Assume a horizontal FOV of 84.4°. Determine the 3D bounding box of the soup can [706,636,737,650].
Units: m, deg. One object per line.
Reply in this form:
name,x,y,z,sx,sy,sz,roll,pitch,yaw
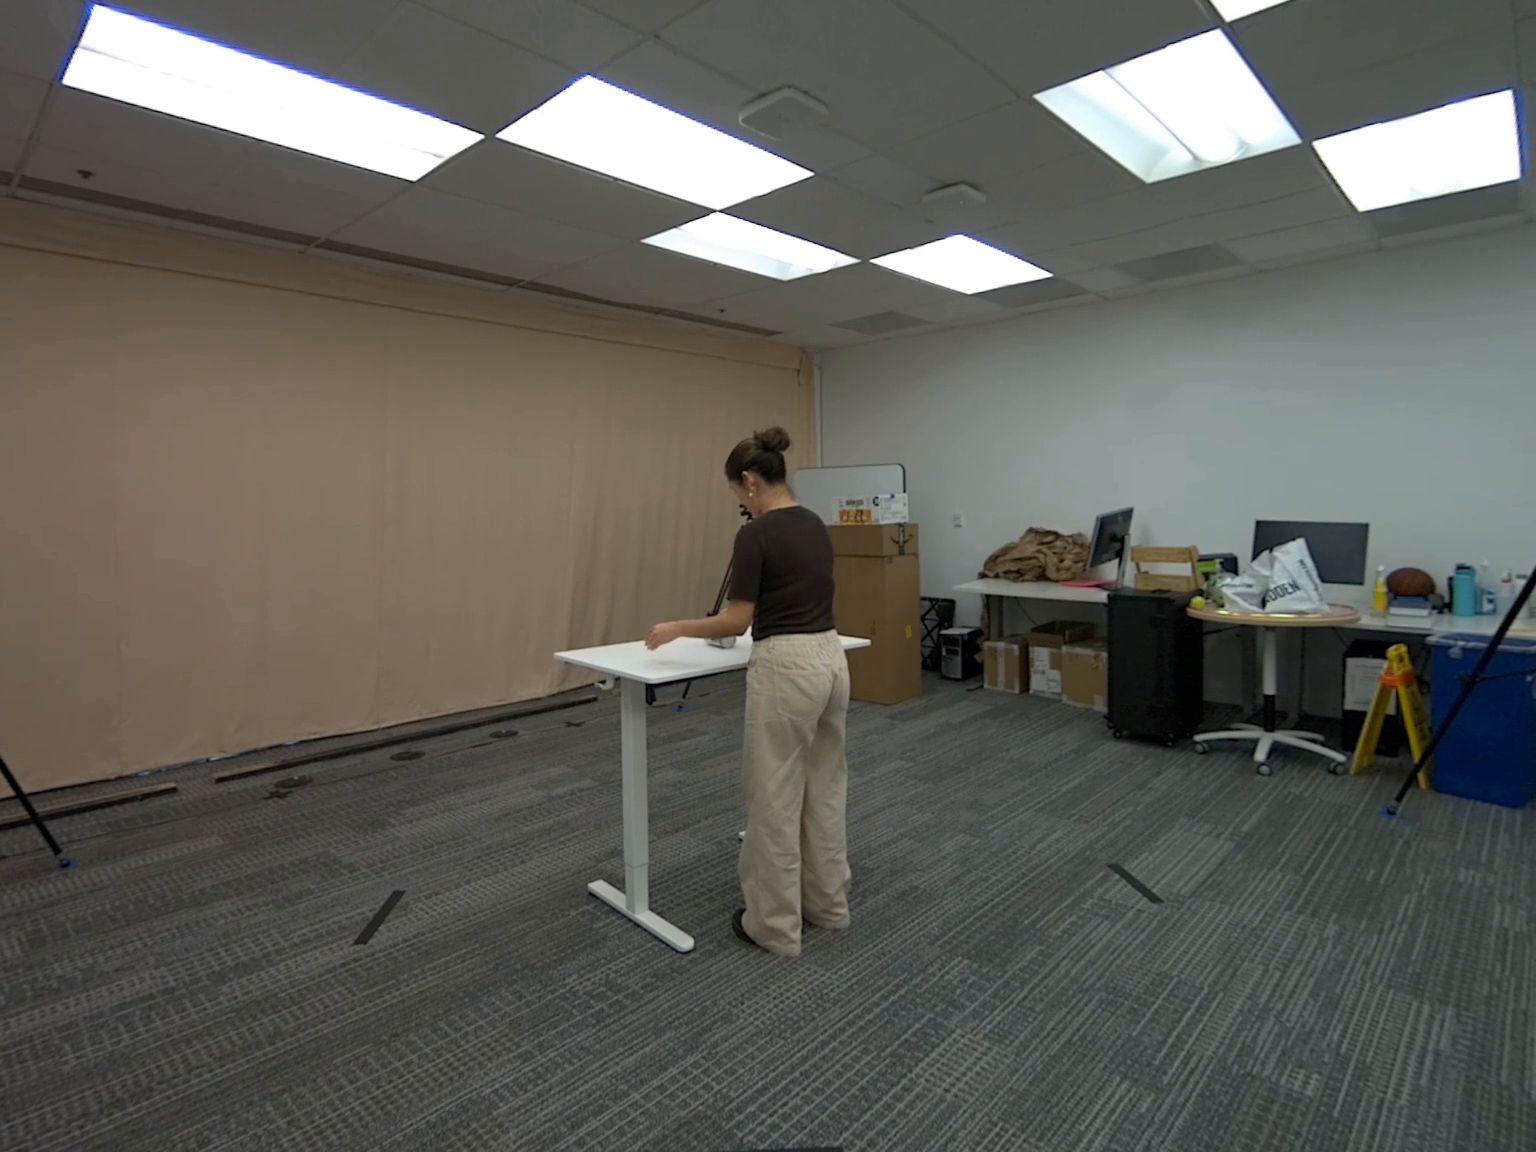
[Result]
soup can,-0.160,0.228,3.046,0.066,0.067,0.123,-2,4,-15
